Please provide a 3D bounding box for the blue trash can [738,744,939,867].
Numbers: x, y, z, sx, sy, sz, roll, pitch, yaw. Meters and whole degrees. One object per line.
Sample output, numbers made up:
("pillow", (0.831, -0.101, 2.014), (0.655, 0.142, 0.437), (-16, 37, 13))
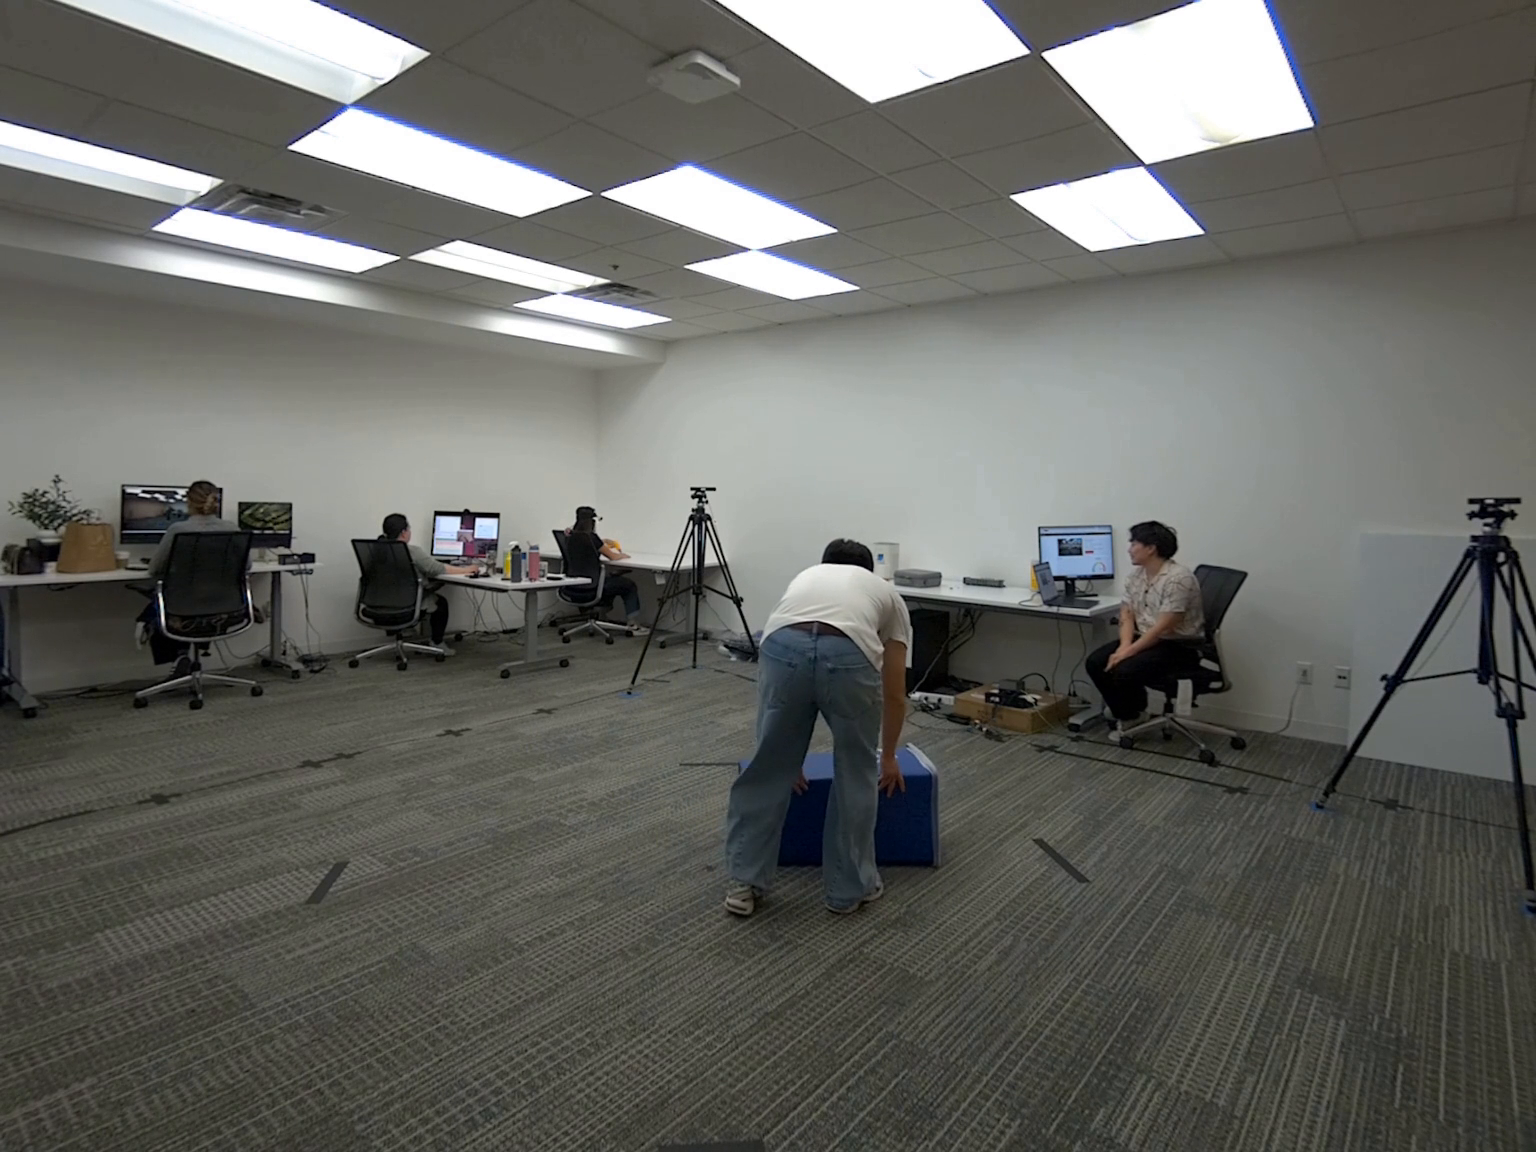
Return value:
("blue trash can", (0.255, 0.892, 3.294), (0.709, 0.377, 0.378), (-2, 5, -6))
